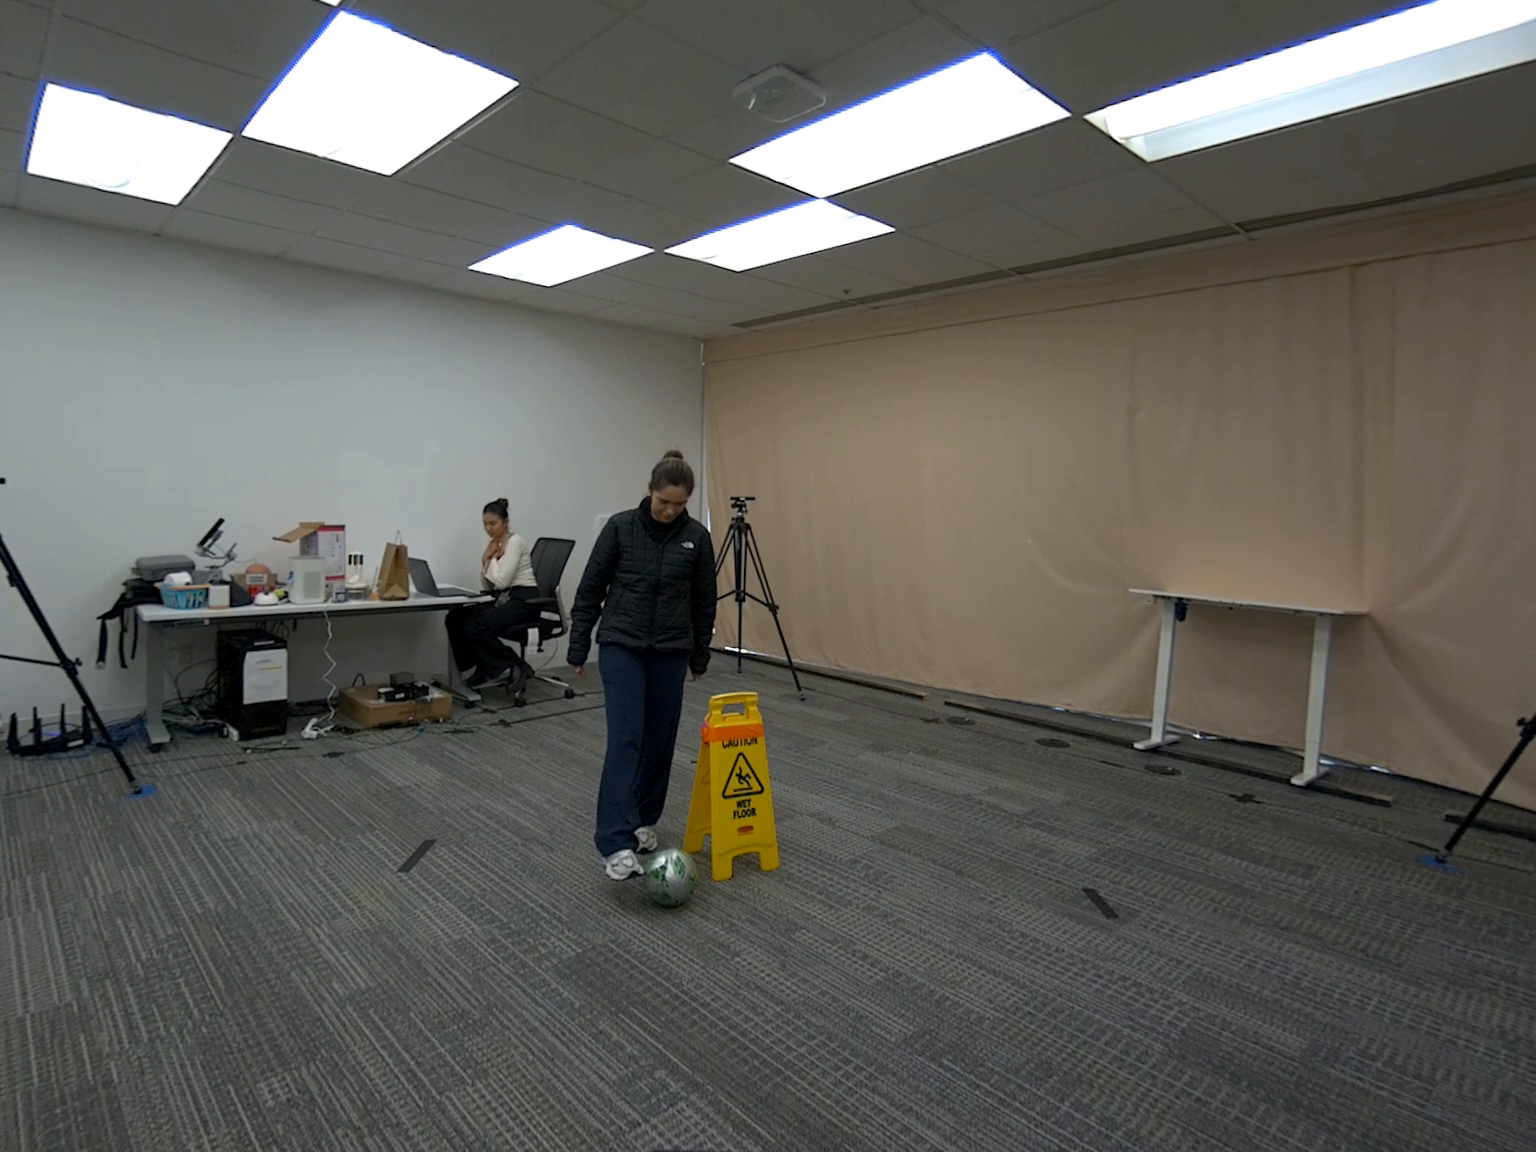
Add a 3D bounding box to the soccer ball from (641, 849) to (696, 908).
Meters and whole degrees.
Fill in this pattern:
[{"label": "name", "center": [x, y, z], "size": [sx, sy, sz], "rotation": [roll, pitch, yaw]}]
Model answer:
[{"label": "soccer ball", "center": [-0.350, 1.031, 2.871], "size": [0.187, 0.187, 0.188], "rotation": [1, 4, -1]}]
